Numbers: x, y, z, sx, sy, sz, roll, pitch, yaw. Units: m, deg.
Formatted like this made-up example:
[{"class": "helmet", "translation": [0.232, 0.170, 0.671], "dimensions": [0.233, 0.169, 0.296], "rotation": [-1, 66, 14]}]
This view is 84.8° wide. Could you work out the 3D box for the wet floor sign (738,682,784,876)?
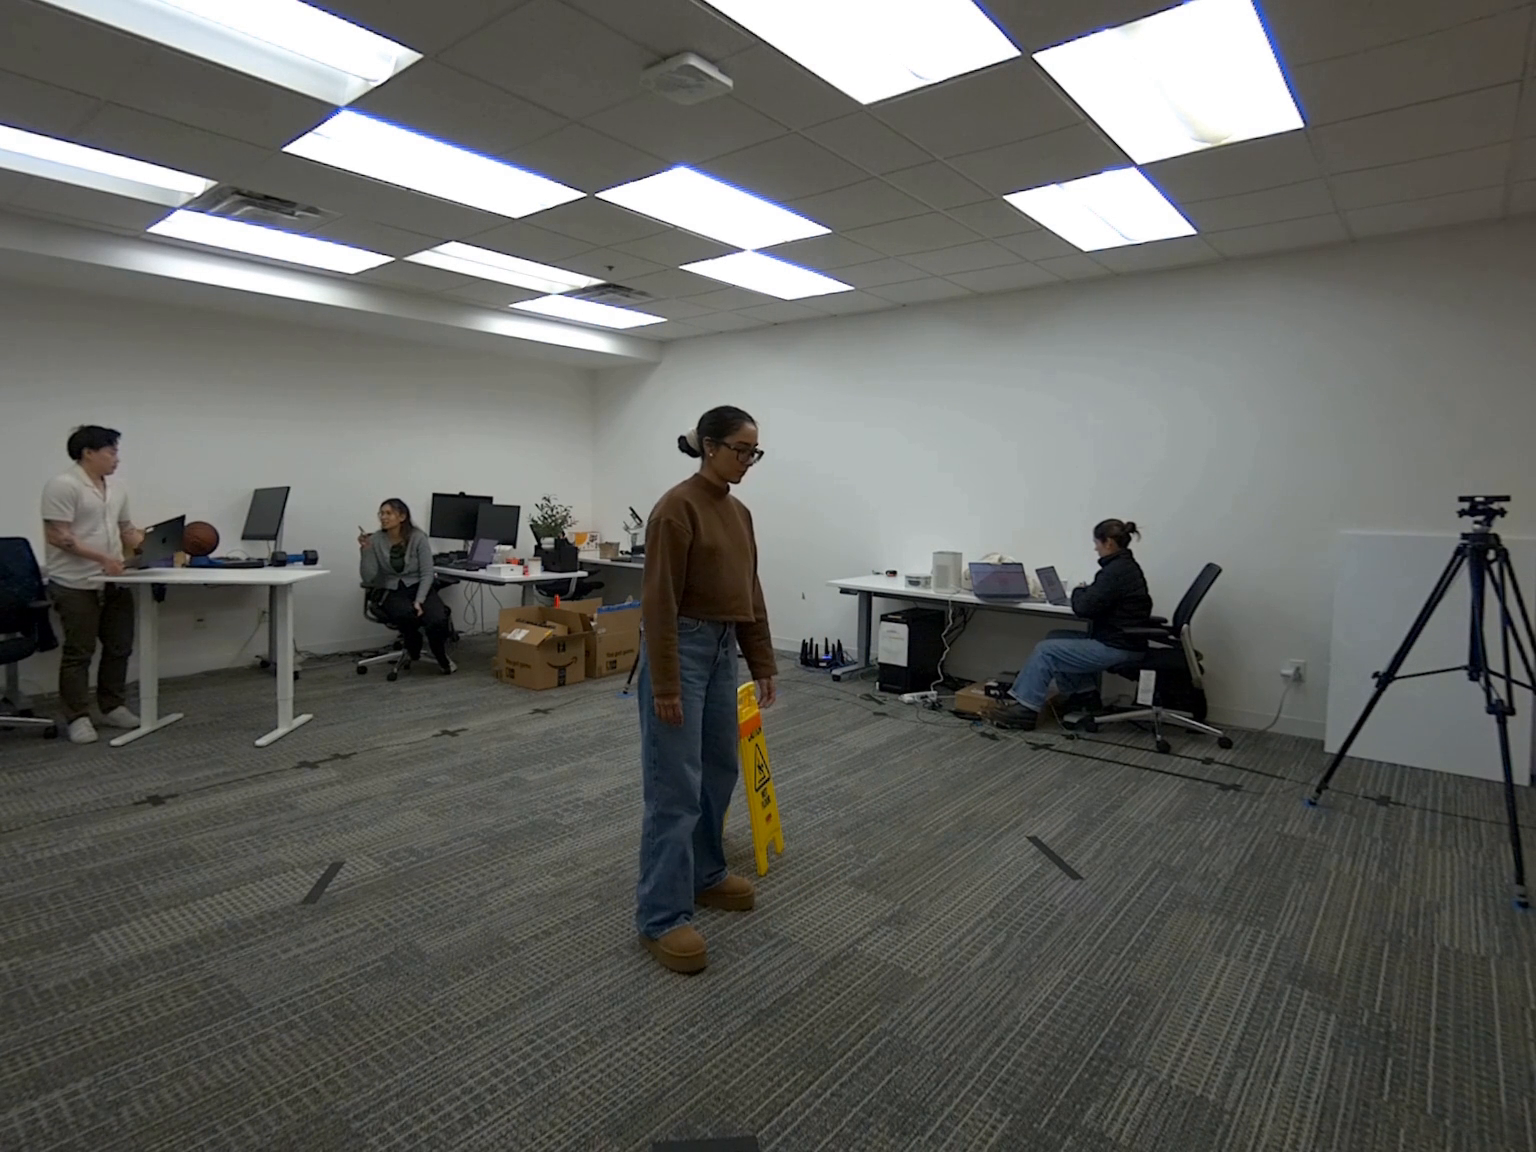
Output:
[{"class": "wet floor sign", "translation": [-0.105, 0.734, 3.205], "dimensions": [0.296, 0.643, 0.277], "rotation": [3, 4, 19]}]
